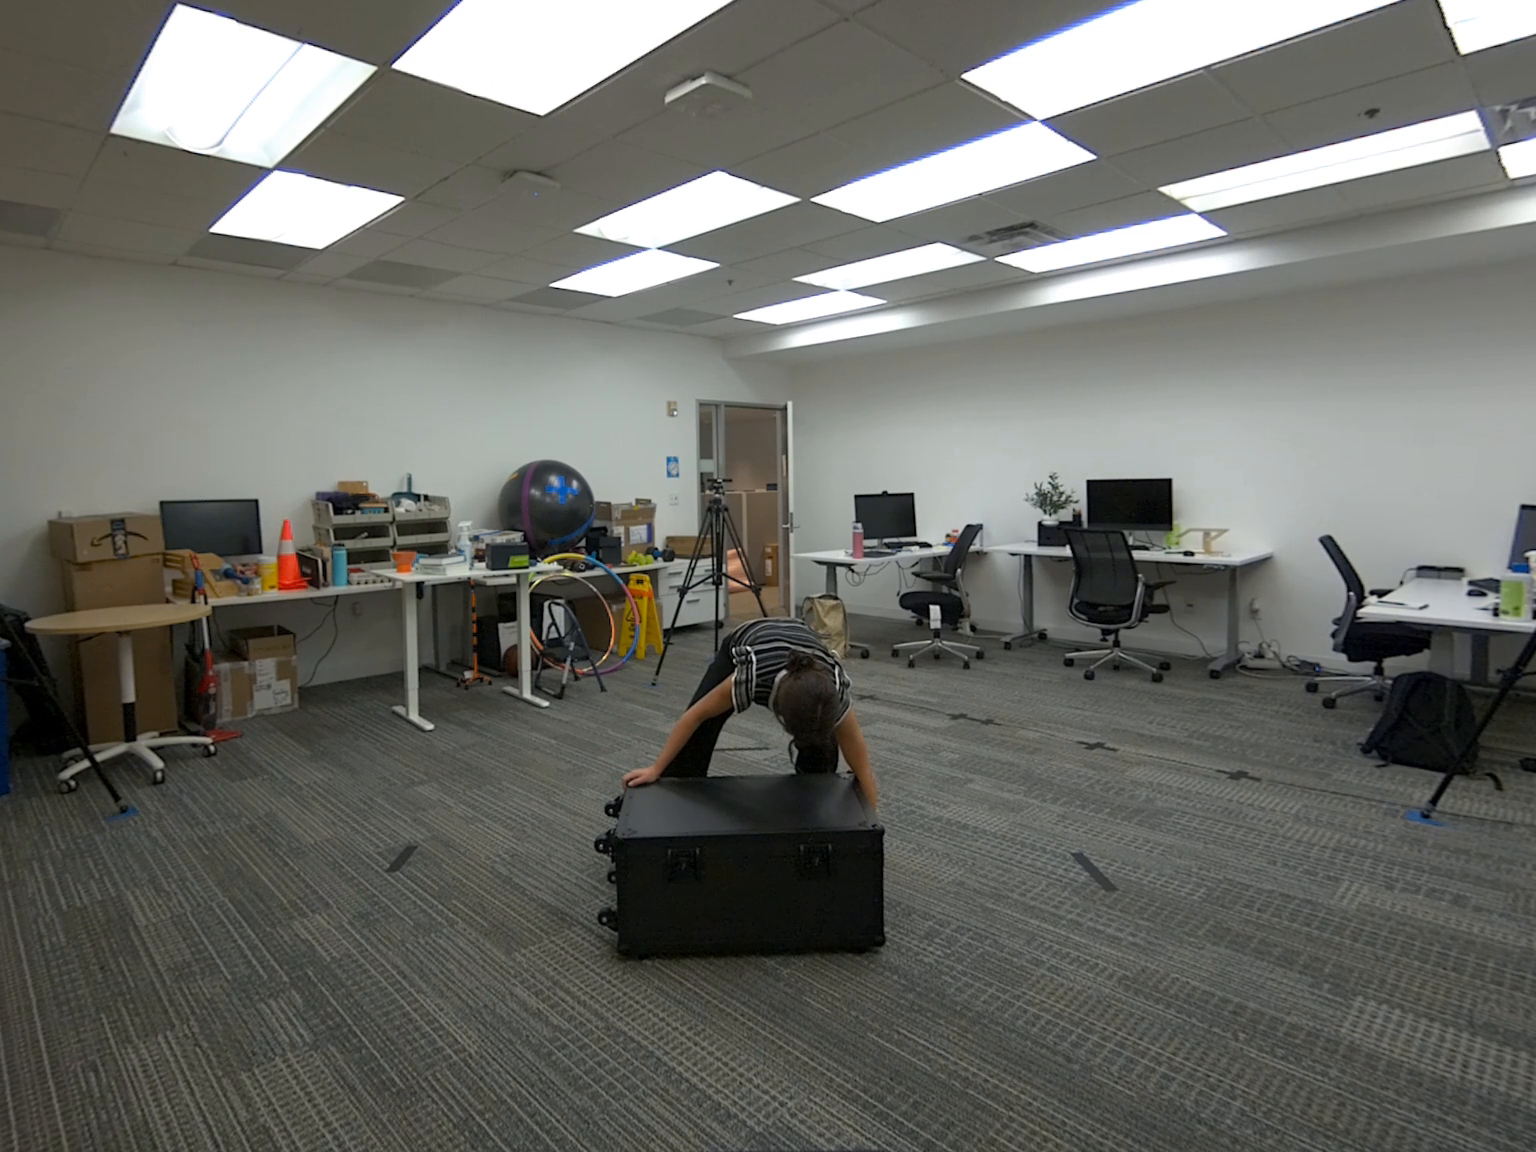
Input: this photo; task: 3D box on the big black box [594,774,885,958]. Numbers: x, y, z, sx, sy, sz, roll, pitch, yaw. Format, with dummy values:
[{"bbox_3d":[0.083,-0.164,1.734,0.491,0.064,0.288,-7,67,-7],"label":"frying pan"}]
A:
[{"bbox_3d":[-0.104,0.901,2.704,0.860,0.394,0.525,0,6,-2],"label":"big black box"}]
